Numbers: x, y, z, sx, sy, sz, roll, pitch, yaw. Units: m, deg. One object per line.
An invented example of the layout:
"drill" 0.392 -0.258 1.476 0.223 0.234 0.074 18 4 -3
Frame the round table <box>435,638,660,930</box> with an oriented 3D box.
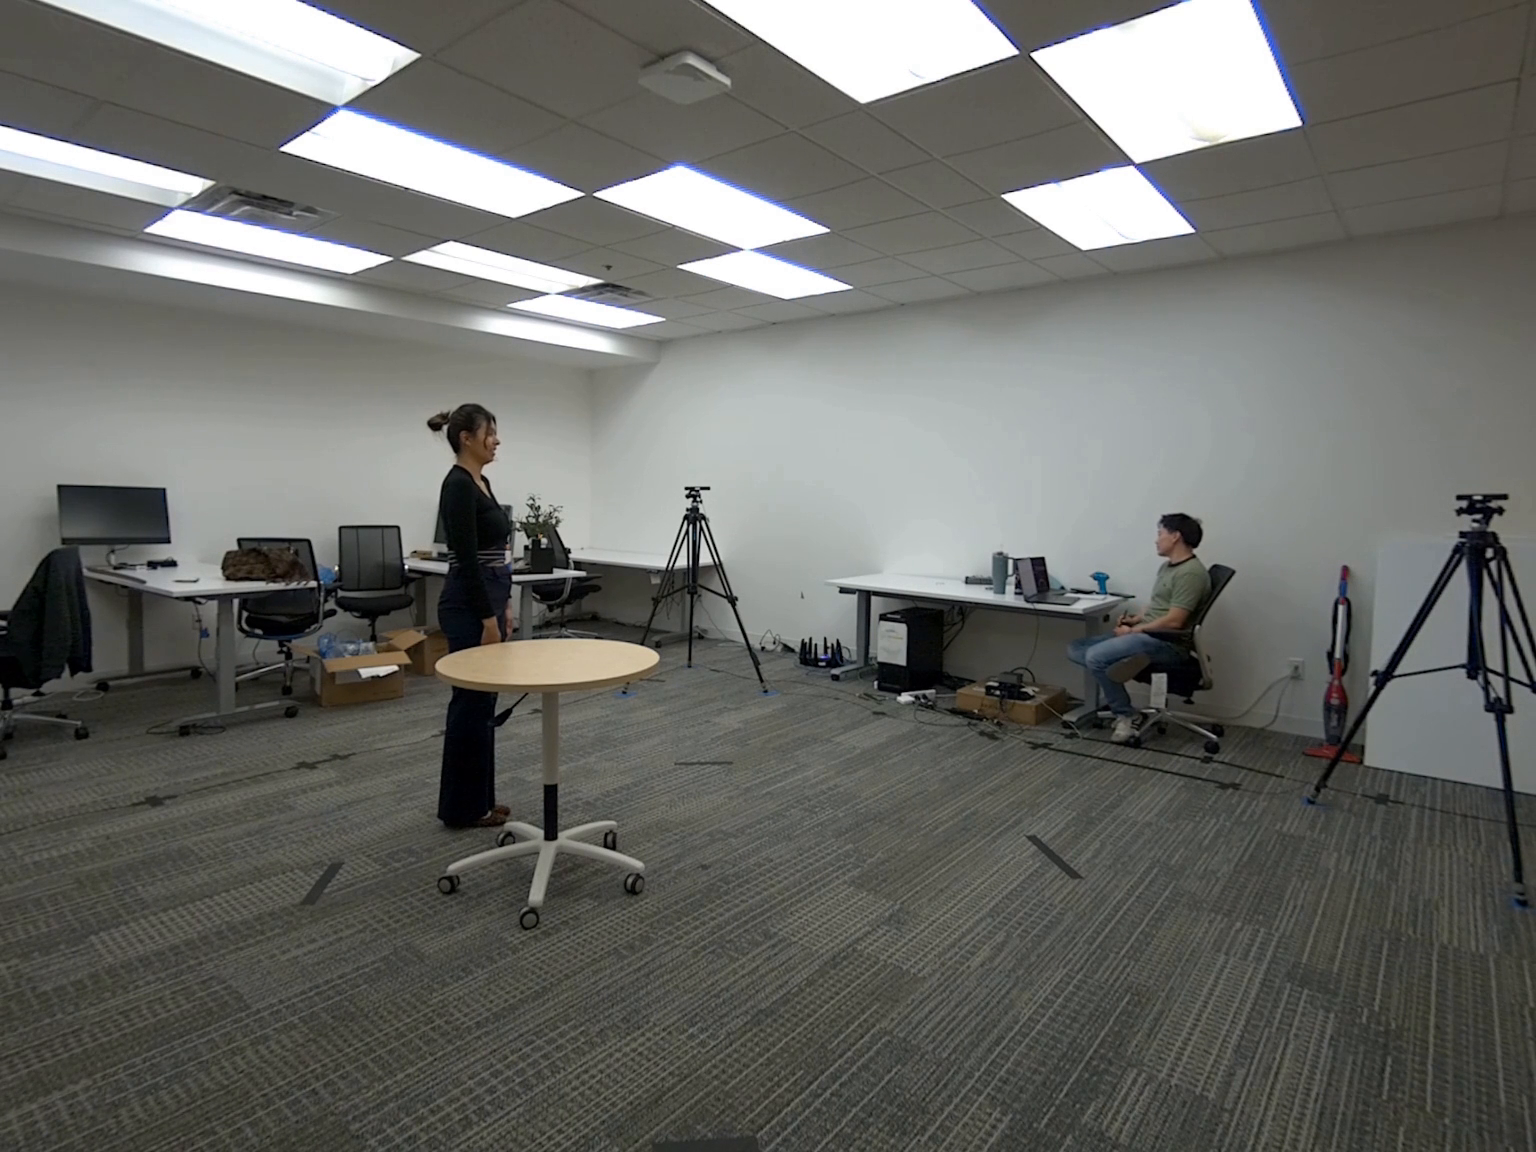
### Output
"round table" -0.775 0.680 2.999 0.763 0.791 0.768 0 4 -2
